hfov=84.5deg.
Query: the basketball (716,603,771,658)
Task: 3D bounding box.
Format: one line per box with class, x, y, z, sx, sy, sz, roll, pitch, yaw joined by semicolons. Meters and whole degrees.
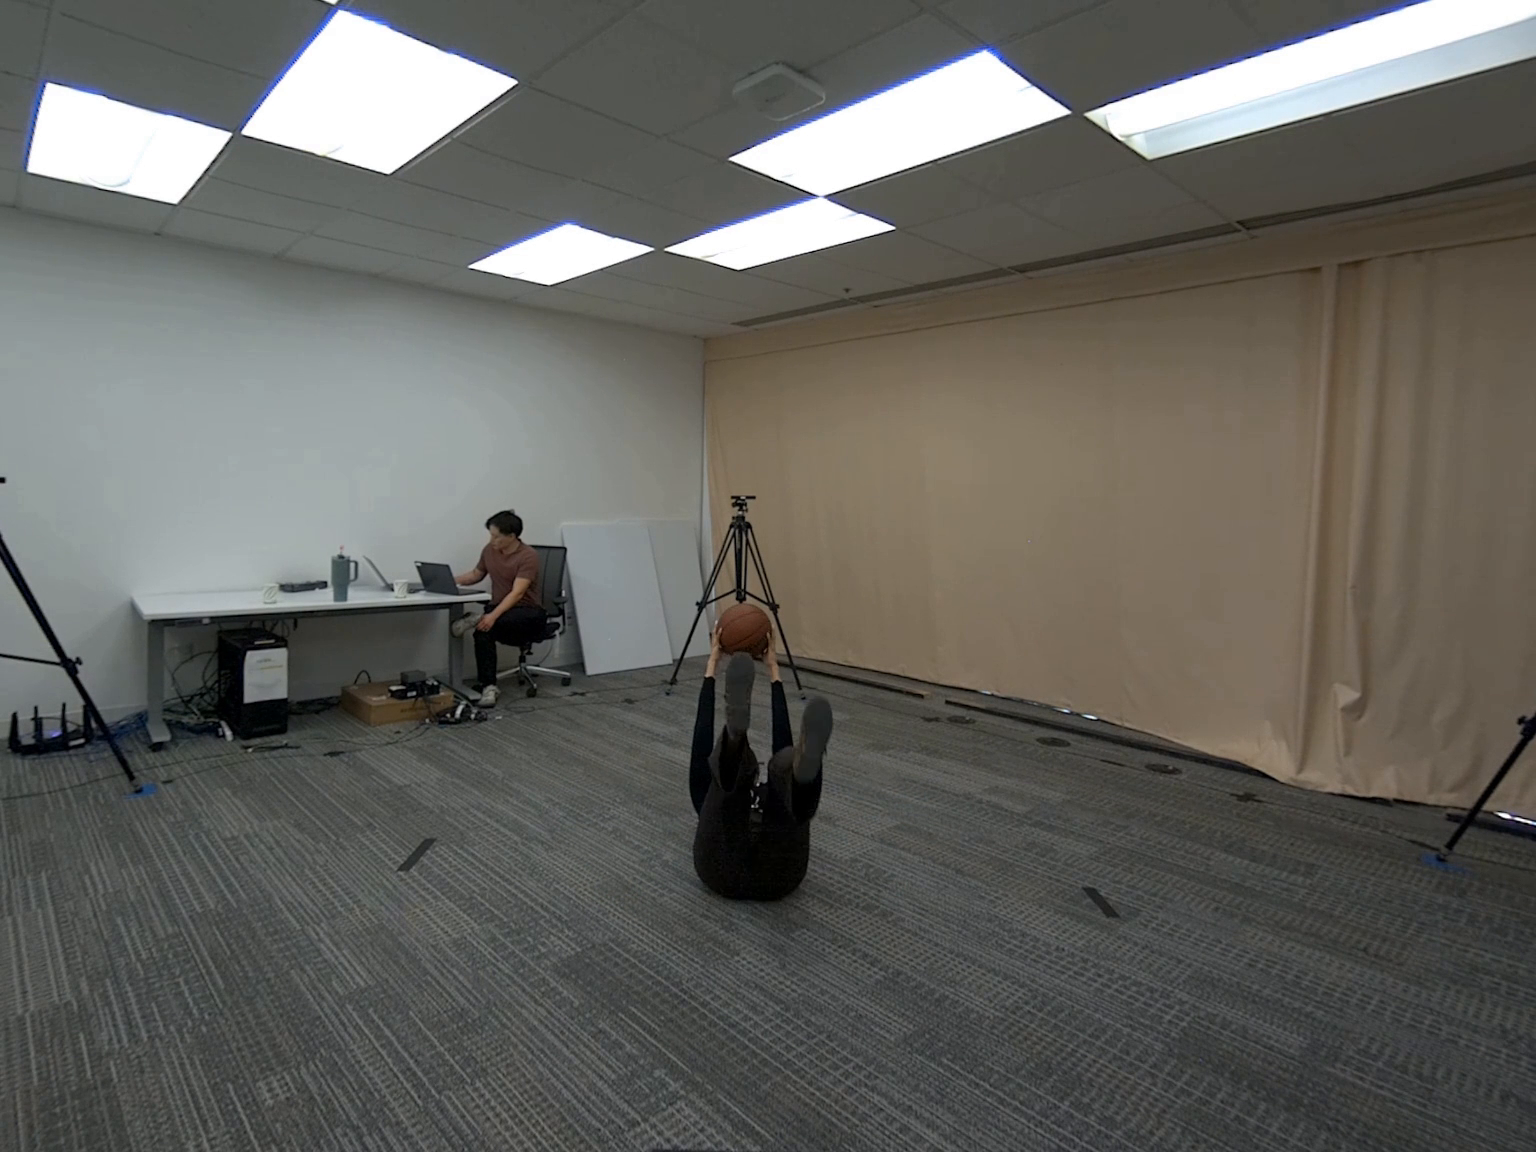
basketball;-0.109;0.238;3.570;0.236;0.235;0.237;1;4;-1
